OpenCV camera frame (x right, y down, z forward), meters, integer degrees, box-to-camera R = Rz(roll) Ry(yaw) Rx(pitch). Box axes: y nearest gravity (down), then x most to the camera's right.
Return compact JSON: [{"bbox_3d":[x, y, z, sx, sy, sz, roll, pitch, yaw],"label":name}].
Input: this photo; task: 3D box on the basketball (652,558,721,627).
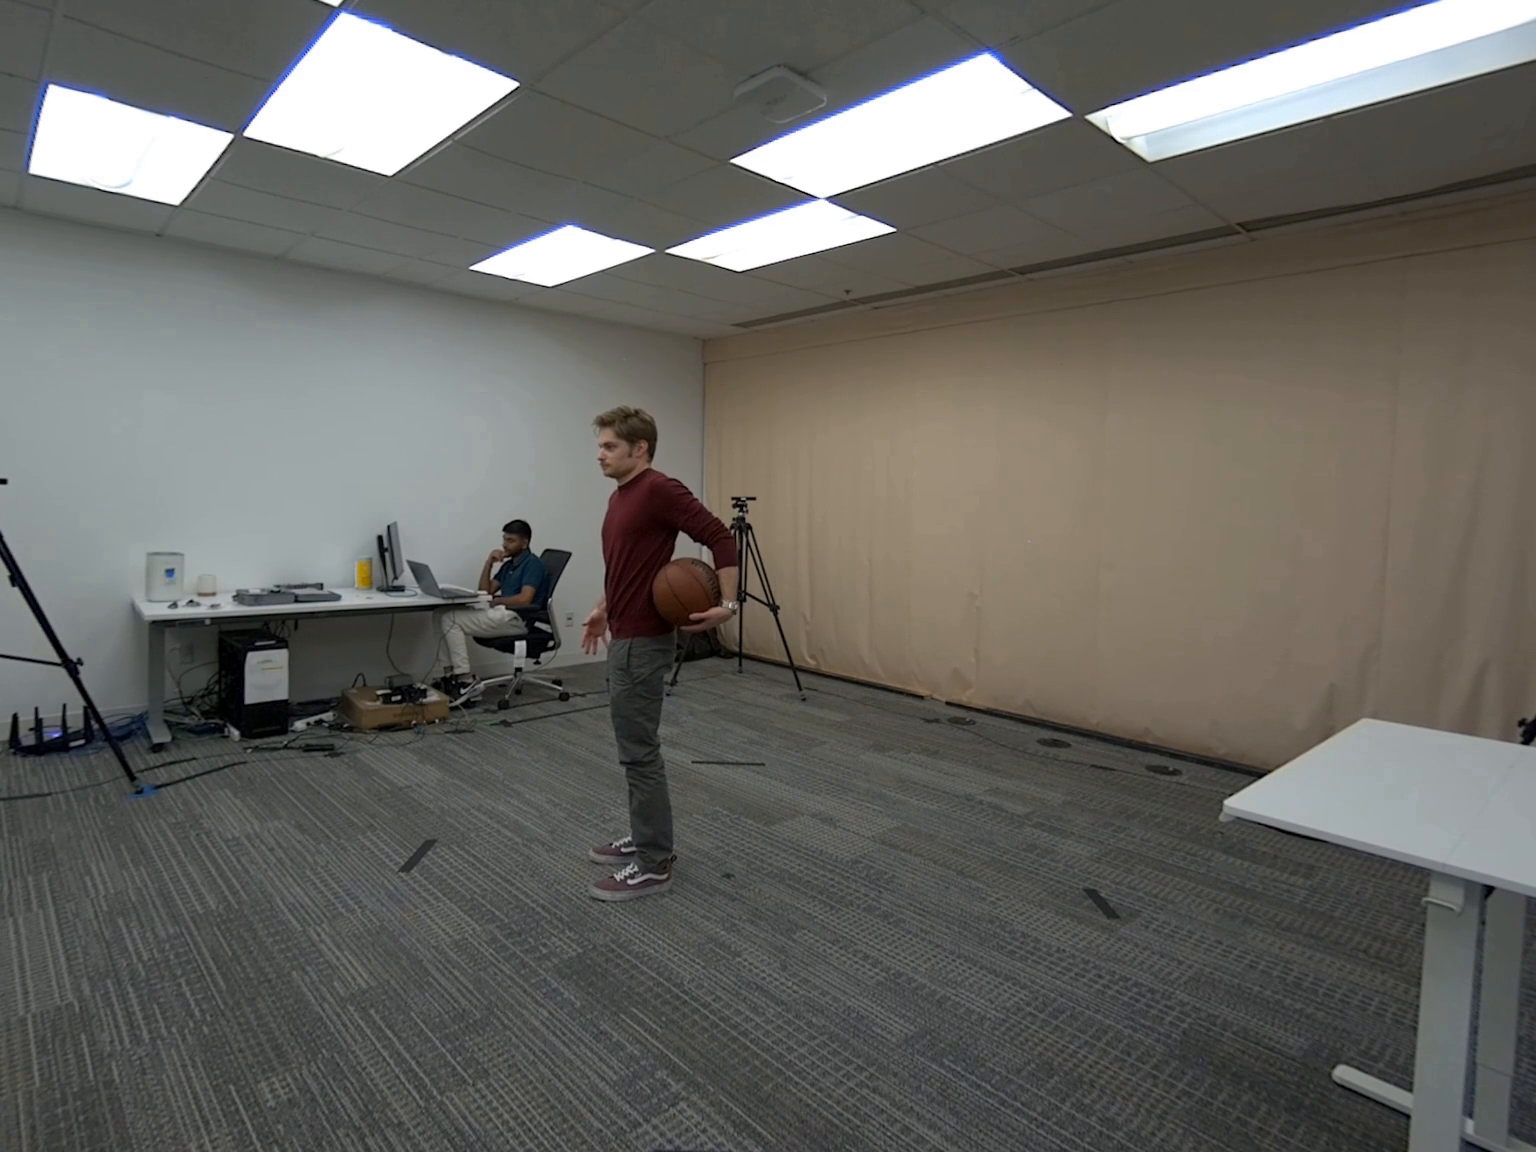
[{"bbox_3d":[-0.285,0.053,2.889,0.236,0.235,0.237,1,4,-1],"label":"basketball"}]
